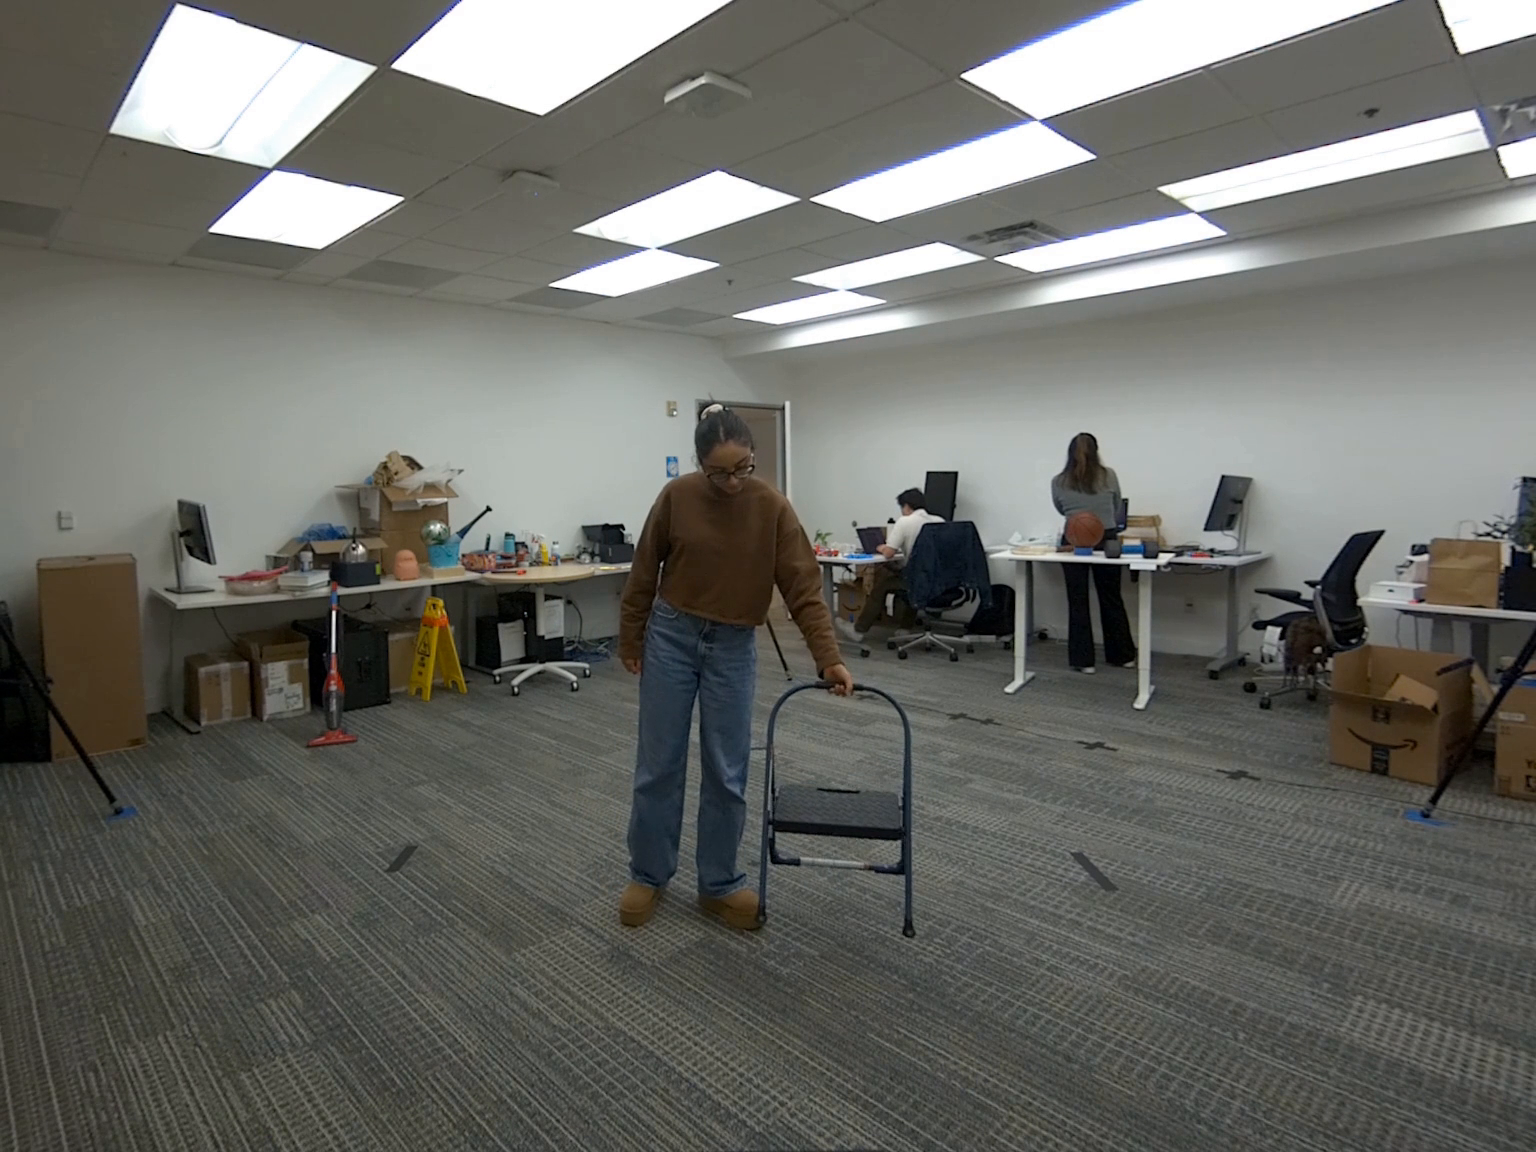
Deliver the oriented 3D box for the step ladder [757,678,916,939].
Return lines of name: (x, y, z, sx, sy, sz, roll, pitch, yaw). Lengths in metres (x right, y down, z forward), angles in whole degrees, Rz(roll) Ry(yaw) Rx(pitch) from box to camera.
step ladder: (0.214, 0.632, 2.420, 0.434, 0.602, 0.349, 3, 7, 7)
